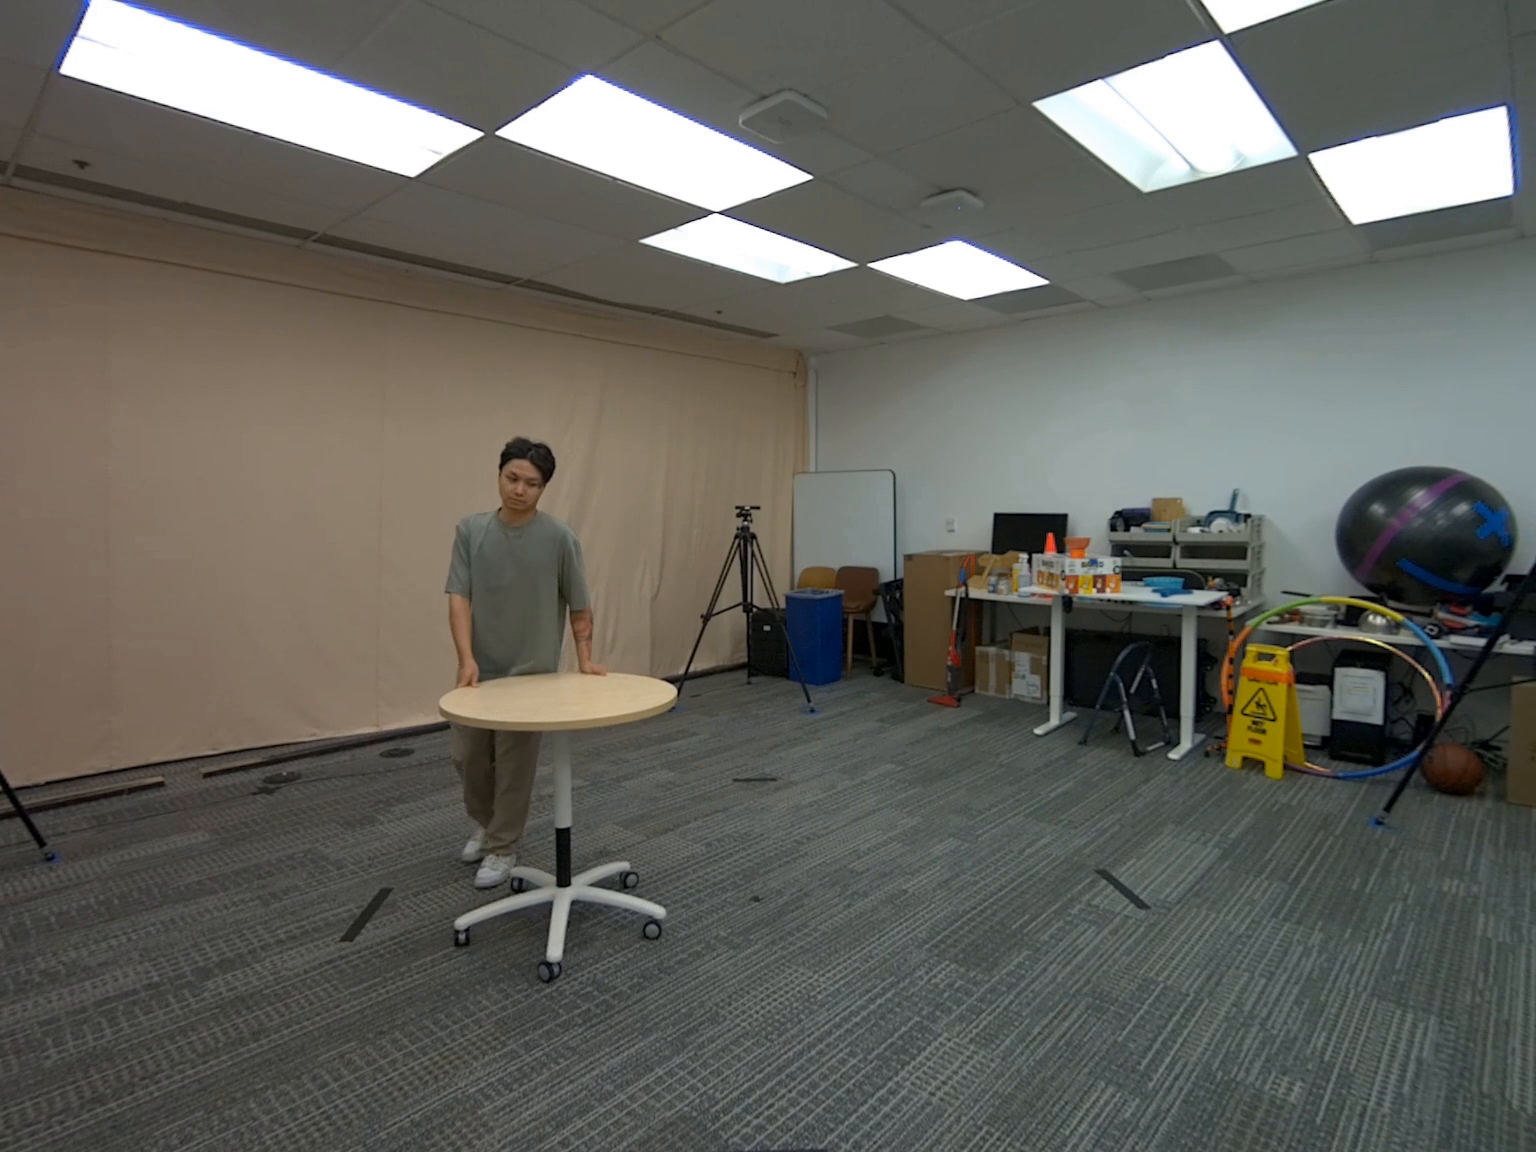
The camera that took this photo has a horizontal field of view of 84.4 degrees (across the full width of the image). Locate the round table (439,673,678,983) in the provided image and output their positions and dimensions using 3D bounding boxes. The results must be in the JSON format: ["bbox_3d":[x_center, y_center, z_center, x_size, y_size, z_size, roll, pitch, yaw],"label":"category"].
[{"bbox_3d":[-0.674,0.776,2.771,0.784,0.785,0.787,-1,3,-2],"label":"round table"}]
